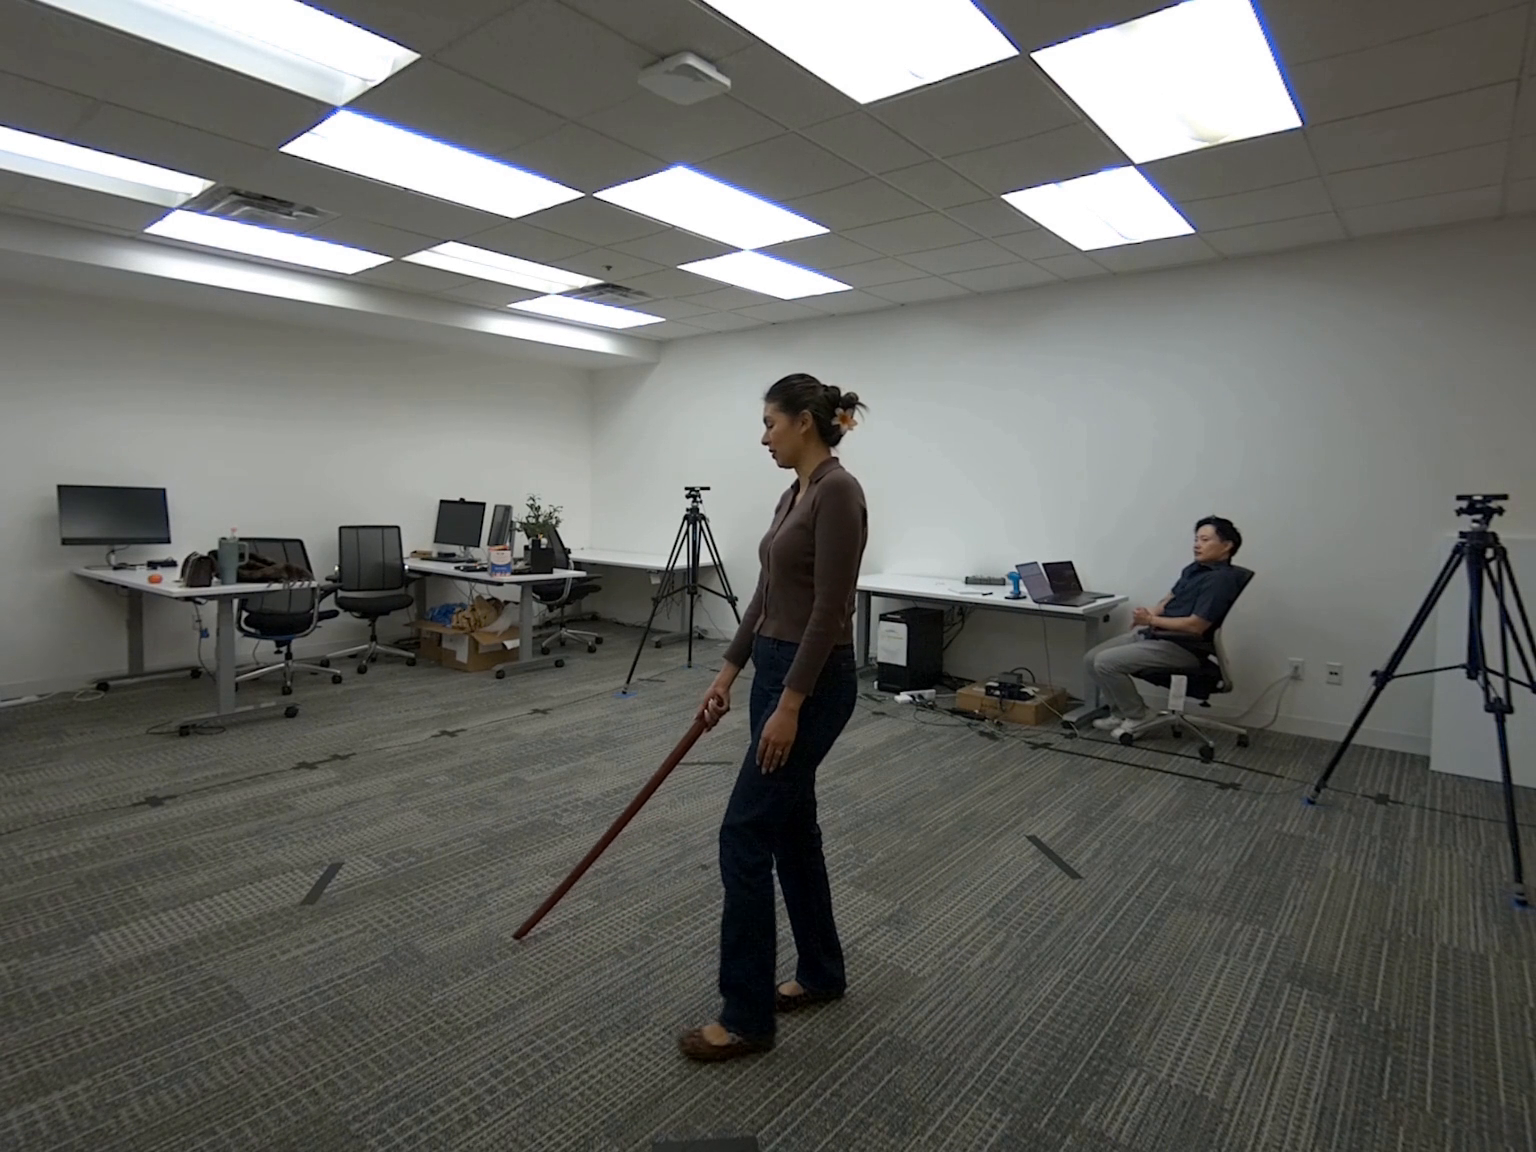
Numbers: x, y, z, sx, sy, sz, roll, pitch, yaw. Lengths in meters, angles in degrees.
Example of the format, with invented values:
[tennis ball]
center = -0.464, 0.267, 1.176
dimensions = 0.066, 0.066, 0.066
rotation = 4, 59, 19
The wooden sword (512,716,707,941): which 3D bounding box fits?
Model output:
[wooden sword]
center = -0.467, 0.743, 2.491
dimensions = 0.023, 1.024, 0.052
rotation = 37, 13, -19
